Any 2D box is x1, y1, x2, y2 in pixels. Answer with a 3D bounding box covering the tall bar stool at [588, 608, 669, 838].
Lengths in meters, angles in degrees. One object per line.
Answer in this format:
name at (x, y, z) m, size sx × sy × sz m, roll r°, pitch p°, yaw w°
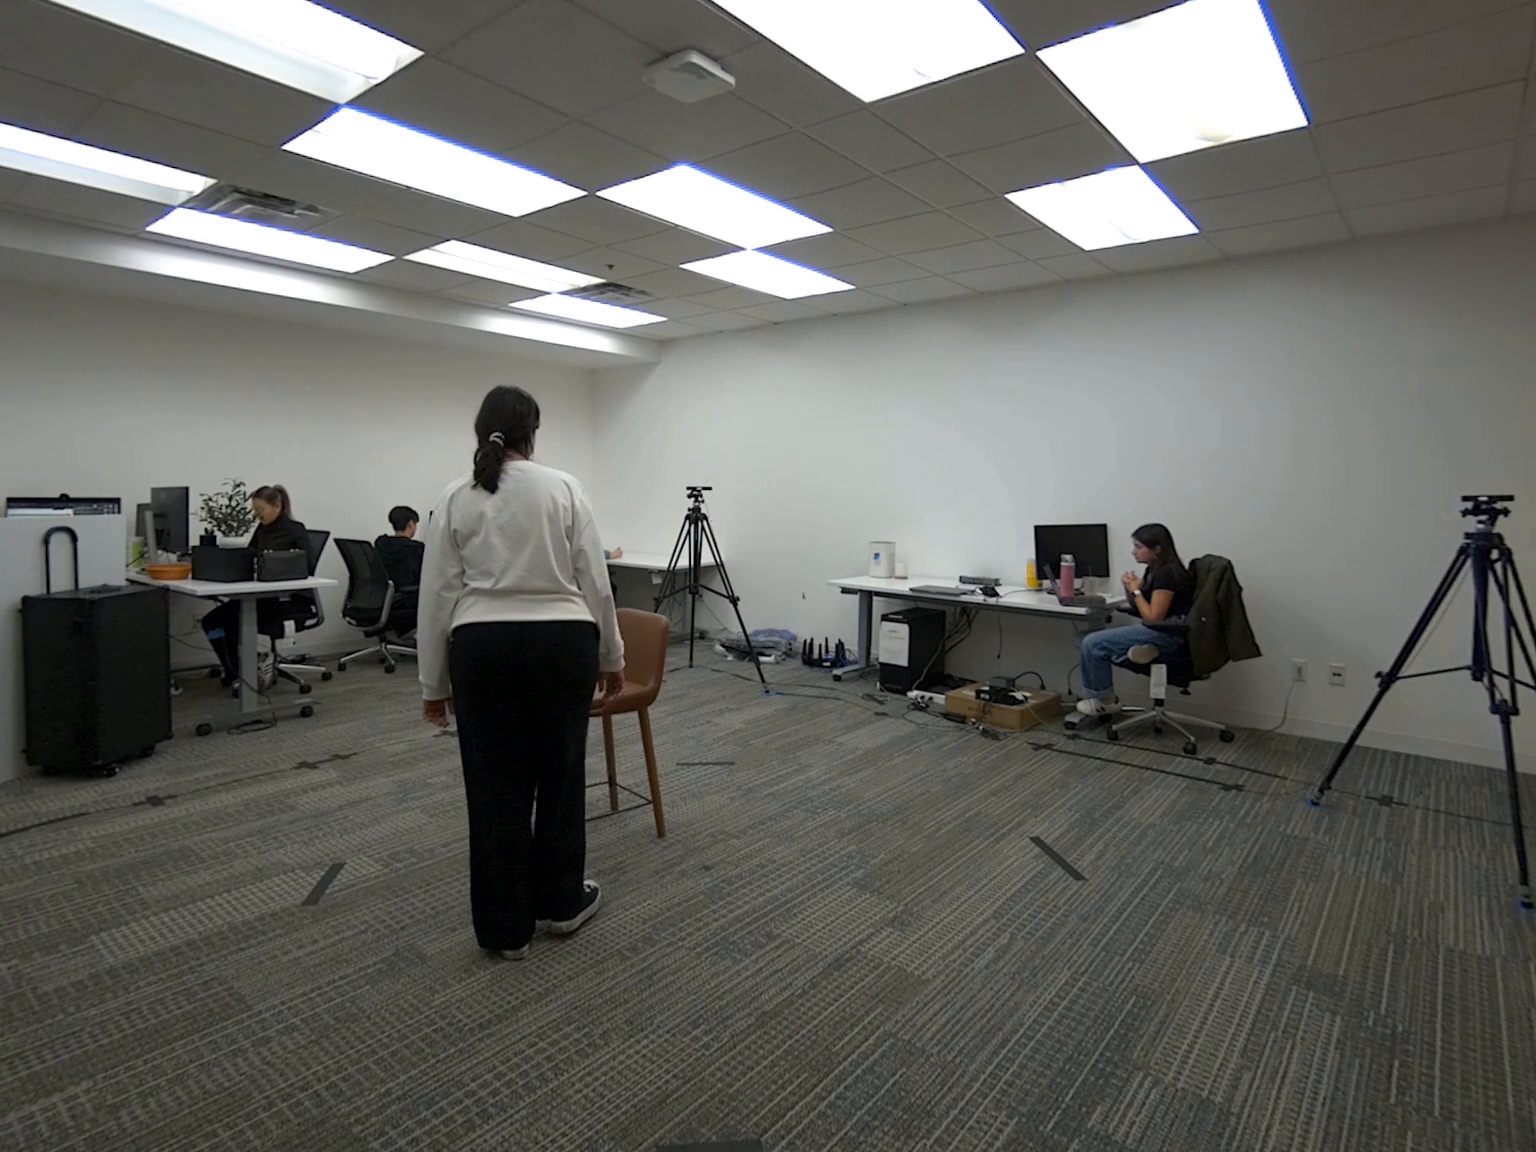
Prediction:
tall bar stool at (-0.683, 0.596, 3.372) m, size 0.453 × 0.889 × 0.472 m, roll 1°, pitch 2°, yaw -42°
